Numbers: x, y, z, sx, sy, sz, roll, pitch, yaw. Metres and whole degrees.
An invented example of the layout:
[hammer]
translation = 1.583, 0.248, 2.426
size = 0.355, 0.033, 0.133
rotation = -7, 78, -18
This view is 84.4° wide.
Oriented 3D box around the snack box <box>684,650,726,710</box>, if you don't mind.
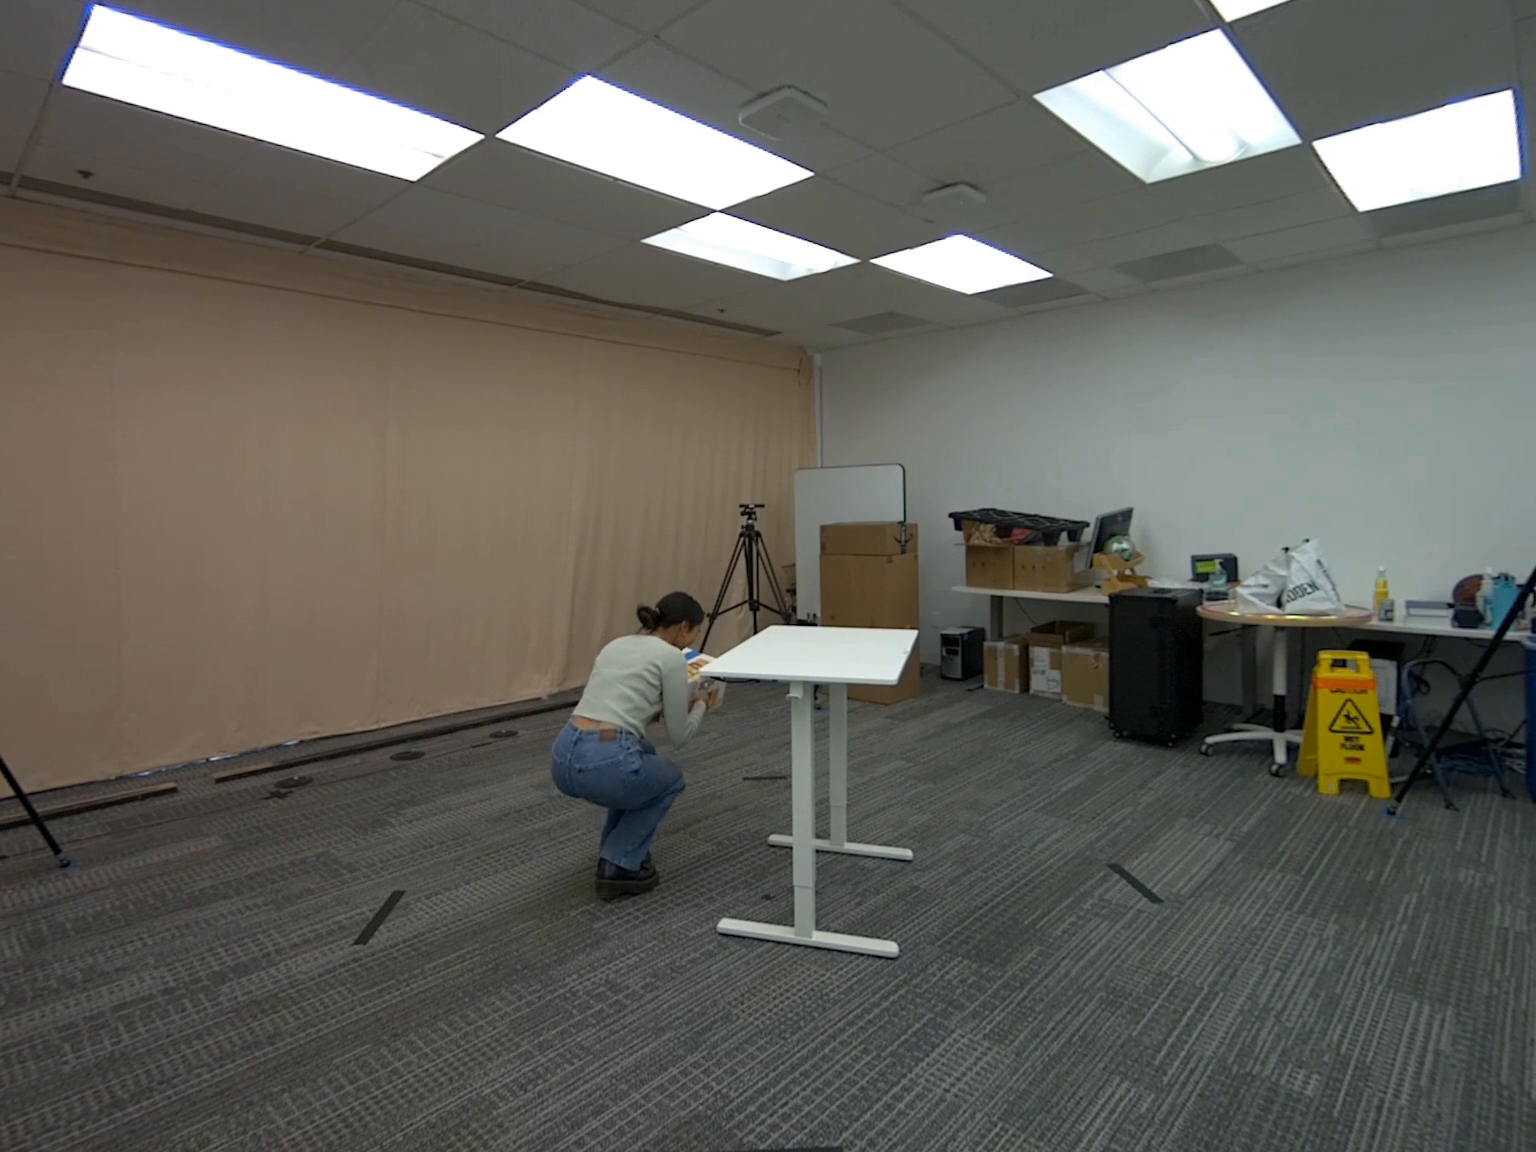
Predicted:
[snack box]
translation = -0.412, 0.451, 3.589
size = 0.350, 0.205, 0.396
rotation = 17, 12, 23
